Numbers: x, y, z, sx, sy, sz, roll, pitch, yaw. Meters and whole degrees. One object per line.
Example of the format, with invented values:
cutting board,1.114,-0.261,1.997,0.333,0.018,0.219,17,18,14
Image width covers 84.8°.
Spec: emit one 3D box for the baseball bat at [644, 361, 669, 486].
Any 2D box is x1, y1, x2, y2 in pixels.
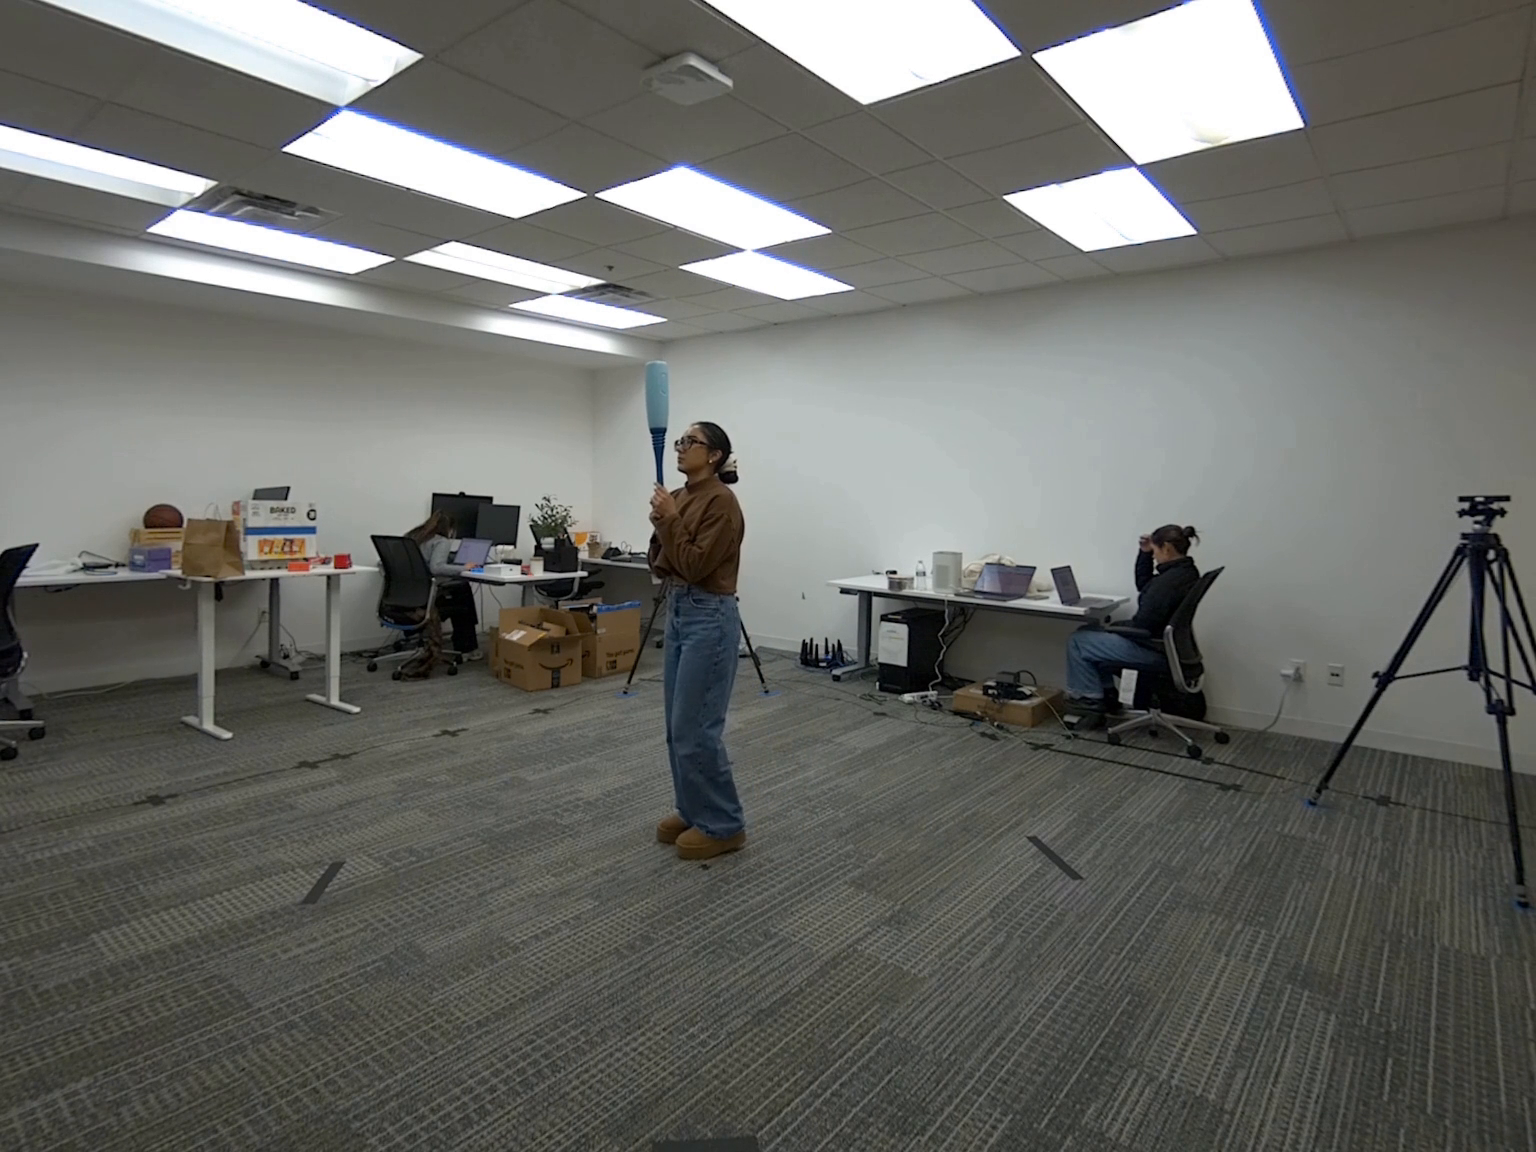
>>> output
baseball bat,-0.421,-0.546,3.226,0.089,0.542,0.089,-3,2,-2
